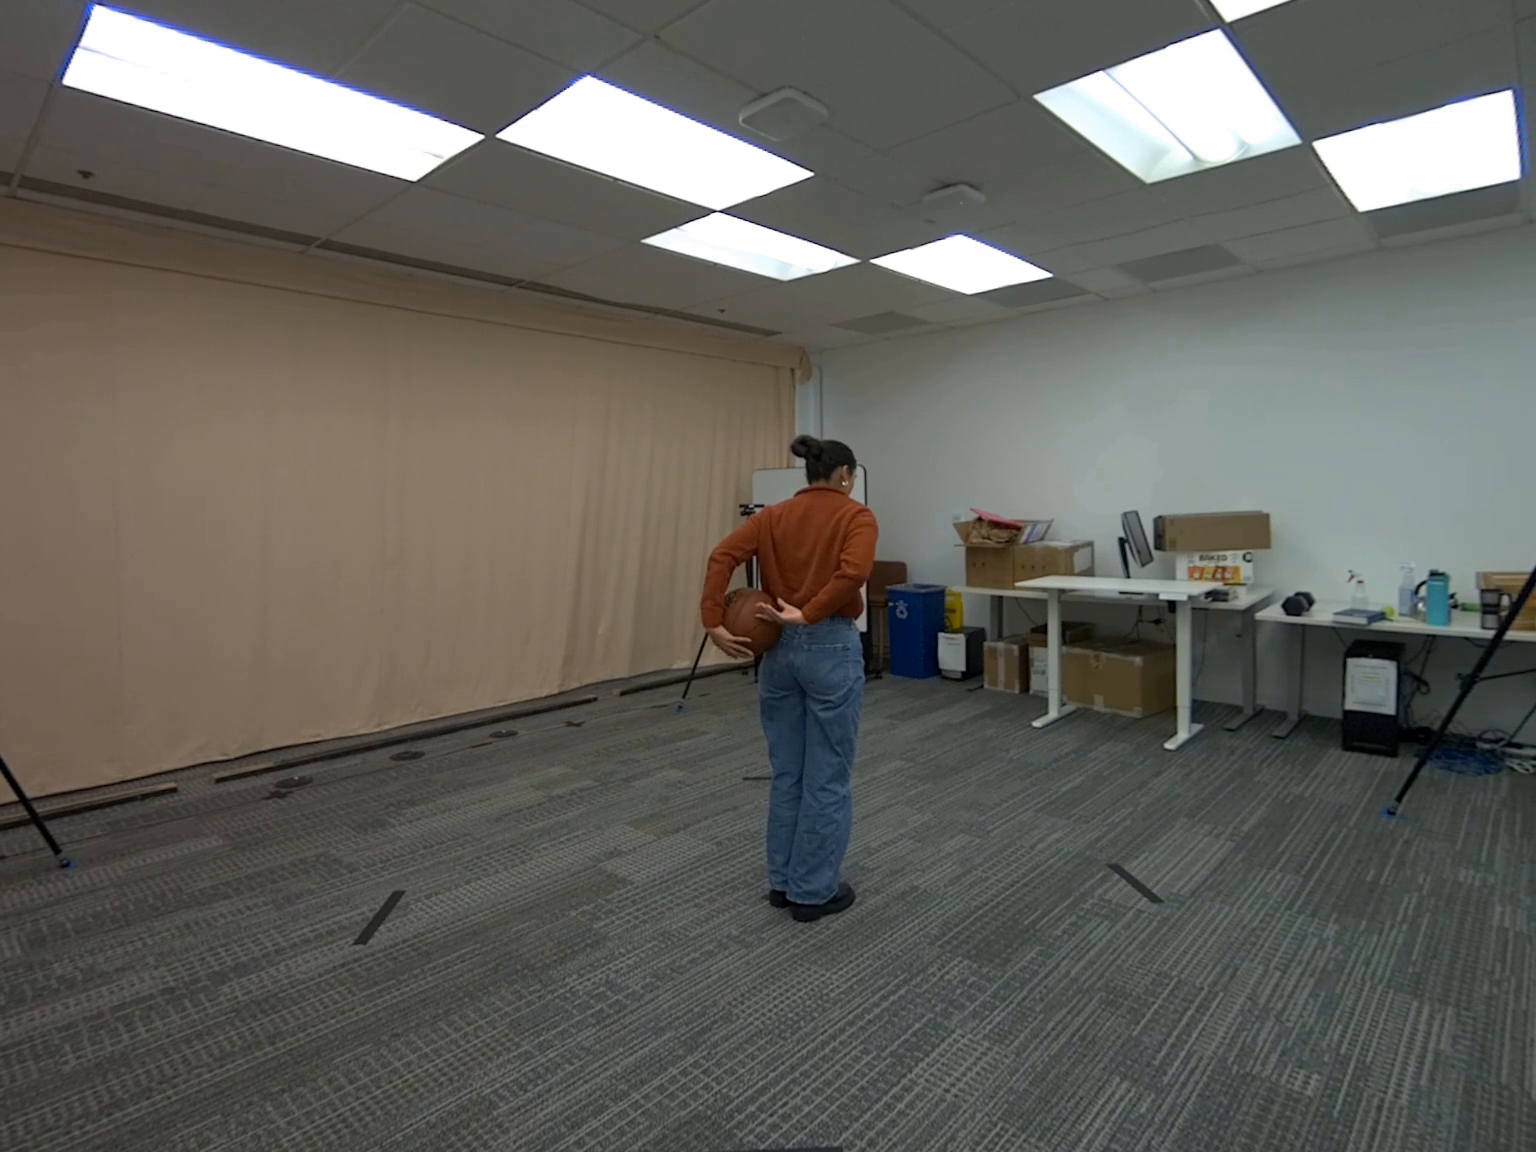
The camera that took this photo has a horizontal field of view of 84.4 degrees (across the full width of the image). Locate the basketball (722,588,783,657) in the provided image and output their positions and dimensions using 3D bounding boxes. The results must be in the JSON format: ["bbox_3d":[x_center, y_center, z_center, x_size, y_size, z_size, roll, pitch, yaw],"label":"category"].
[{"bbox_3d":[-0.067,0.158,2.861,0.236,0.235,0.237,-1,4,-2],"label":"basketball"}]
